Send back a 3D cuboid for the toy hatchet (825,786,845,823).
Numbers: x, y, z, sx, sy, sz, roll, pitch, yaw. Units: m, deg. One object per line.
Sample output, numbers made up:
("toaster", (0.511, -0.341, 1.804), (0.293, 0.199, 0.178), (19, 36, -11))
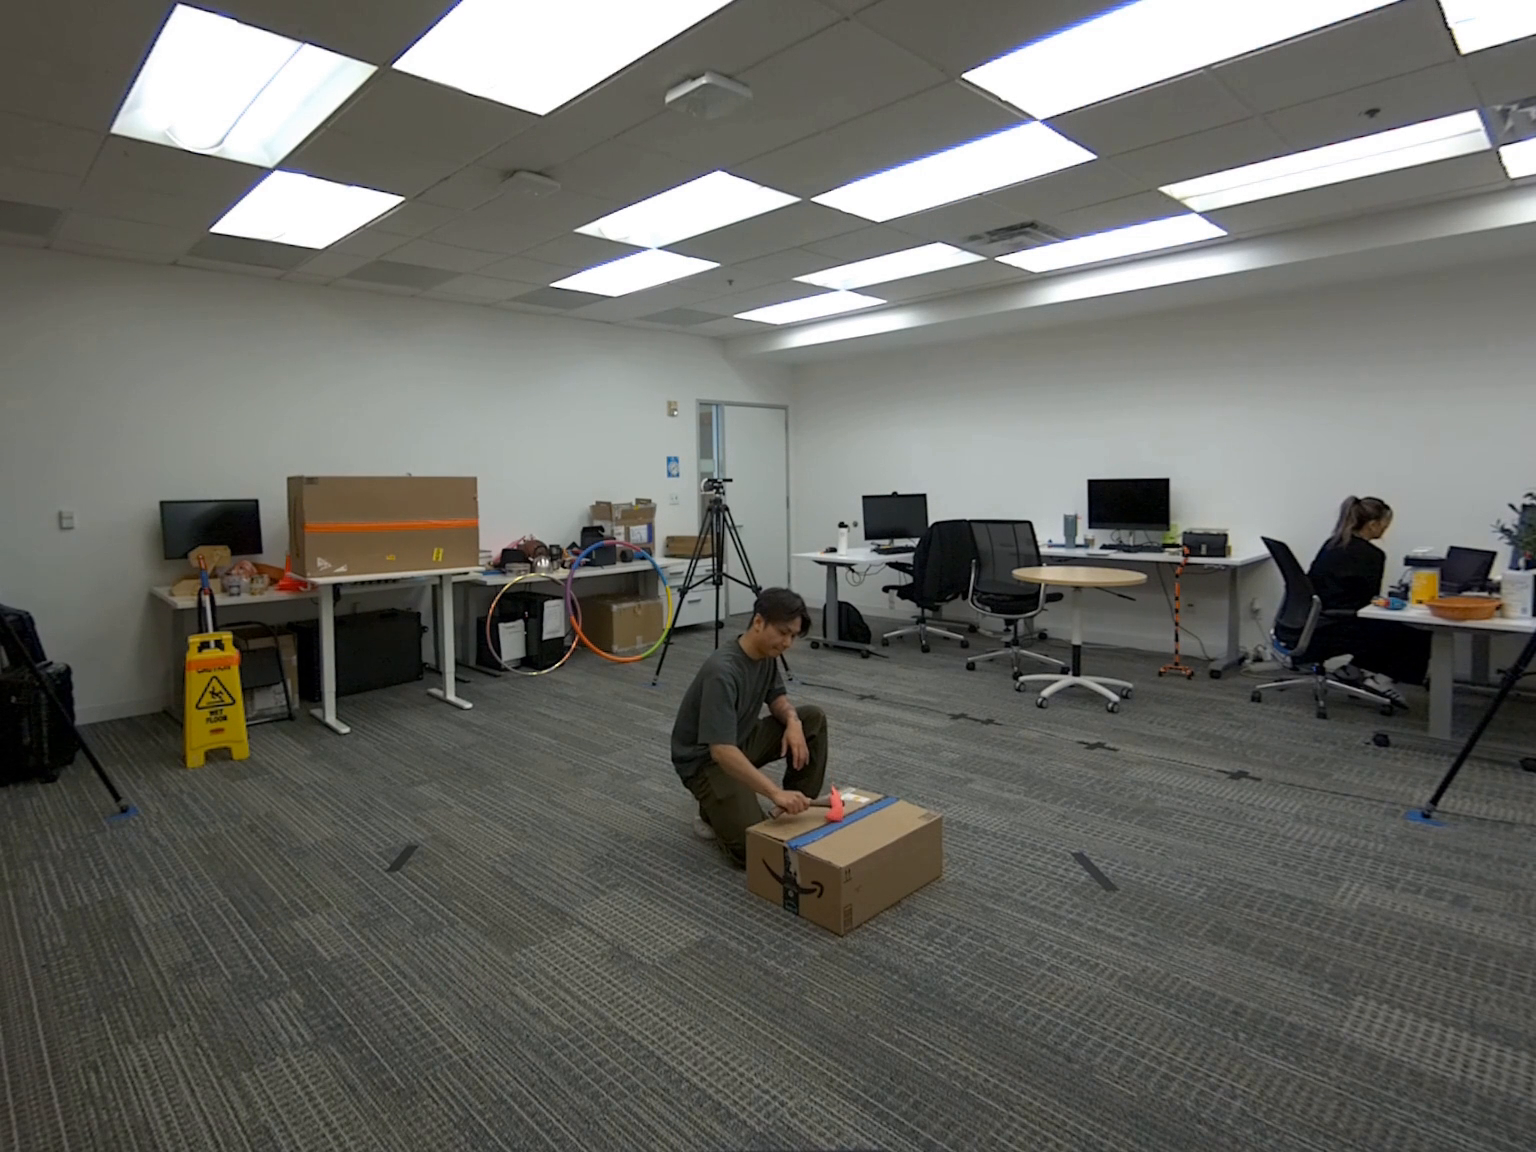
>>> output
("toy hatchet", (0.136, 0.813, 2.935), (0.266, 0.029, 0.136), (-14, 48, -22))
